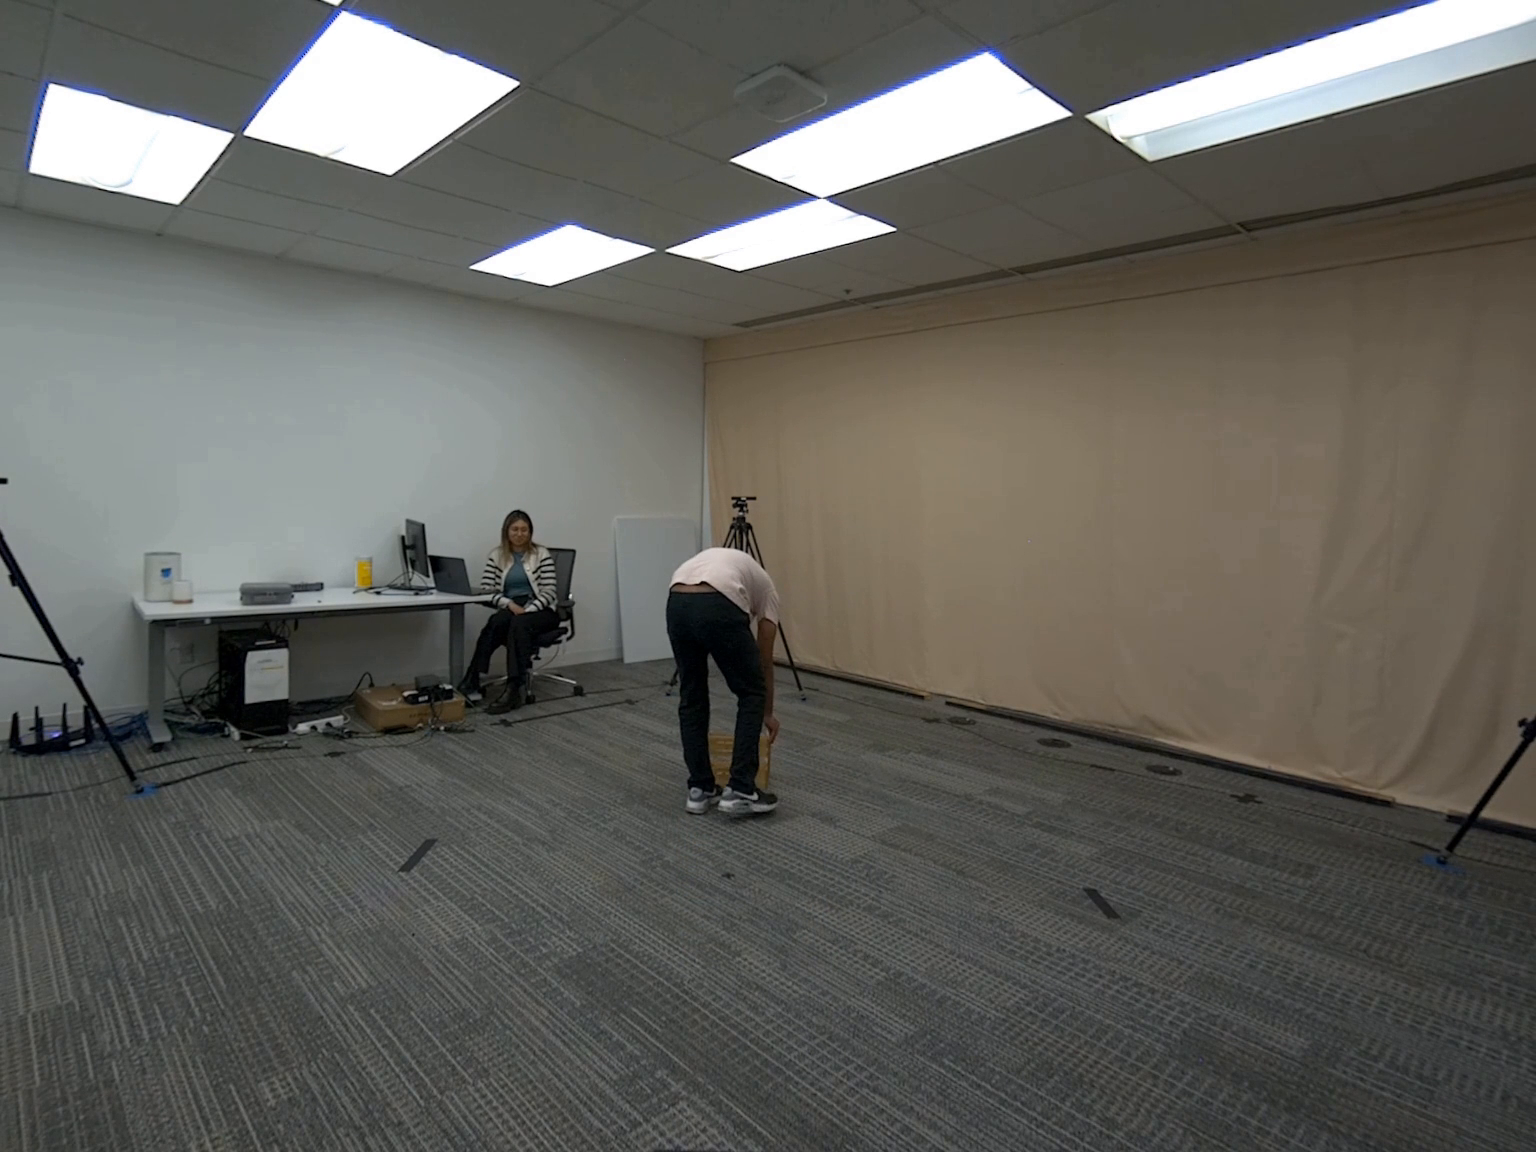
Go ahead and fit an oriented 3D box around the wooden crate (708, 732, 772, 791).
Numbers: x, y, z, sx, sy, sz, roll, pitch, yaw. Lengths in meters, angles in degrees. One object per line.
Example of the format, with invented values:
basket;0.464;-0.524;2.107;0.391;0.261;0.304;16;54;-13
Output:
wooden crate;-0.163;0.883;4.167;0.325;0.272;0.303;1;5;0
